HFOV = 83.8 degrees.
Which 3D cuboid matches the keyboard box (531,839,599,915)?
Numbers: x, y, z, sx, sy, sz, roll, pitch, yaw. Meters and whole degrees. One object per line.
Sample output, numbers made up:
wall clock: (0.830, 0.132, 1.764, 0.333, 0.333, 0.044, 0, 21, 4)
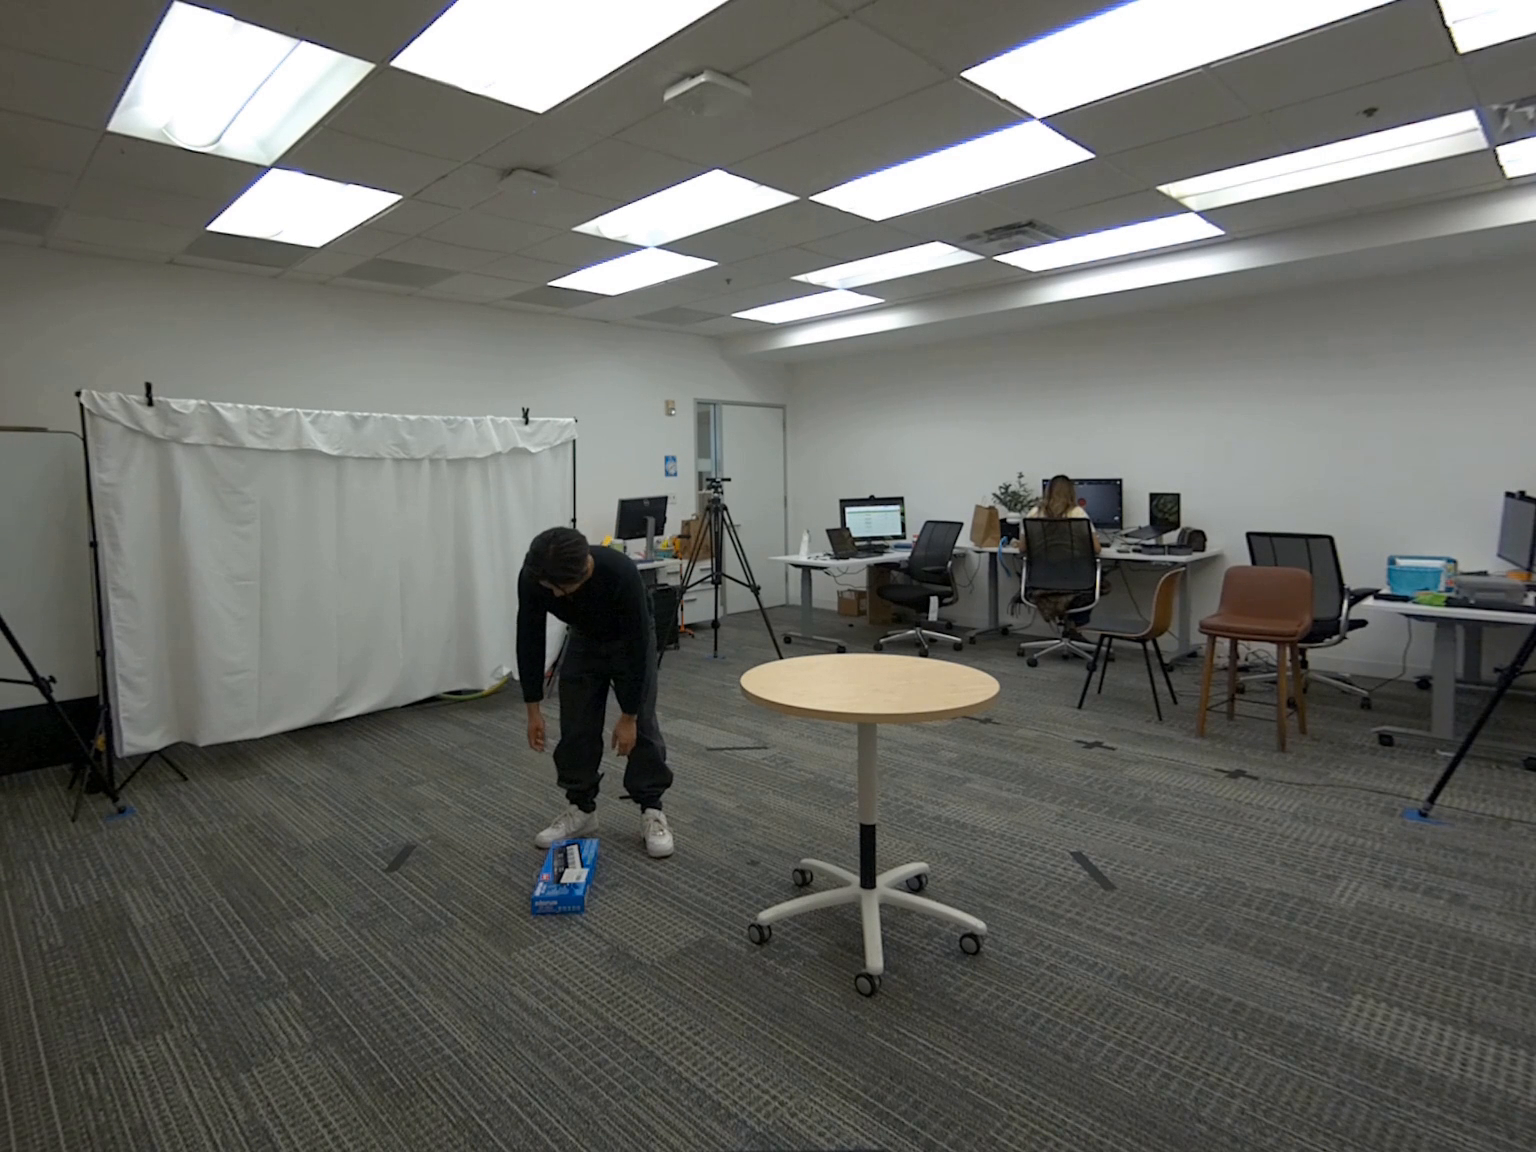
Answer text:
keyboard box: (-0.695, 1.042, 2.978, 0.175, 0.059, 0.440, -2, 7, -5)
